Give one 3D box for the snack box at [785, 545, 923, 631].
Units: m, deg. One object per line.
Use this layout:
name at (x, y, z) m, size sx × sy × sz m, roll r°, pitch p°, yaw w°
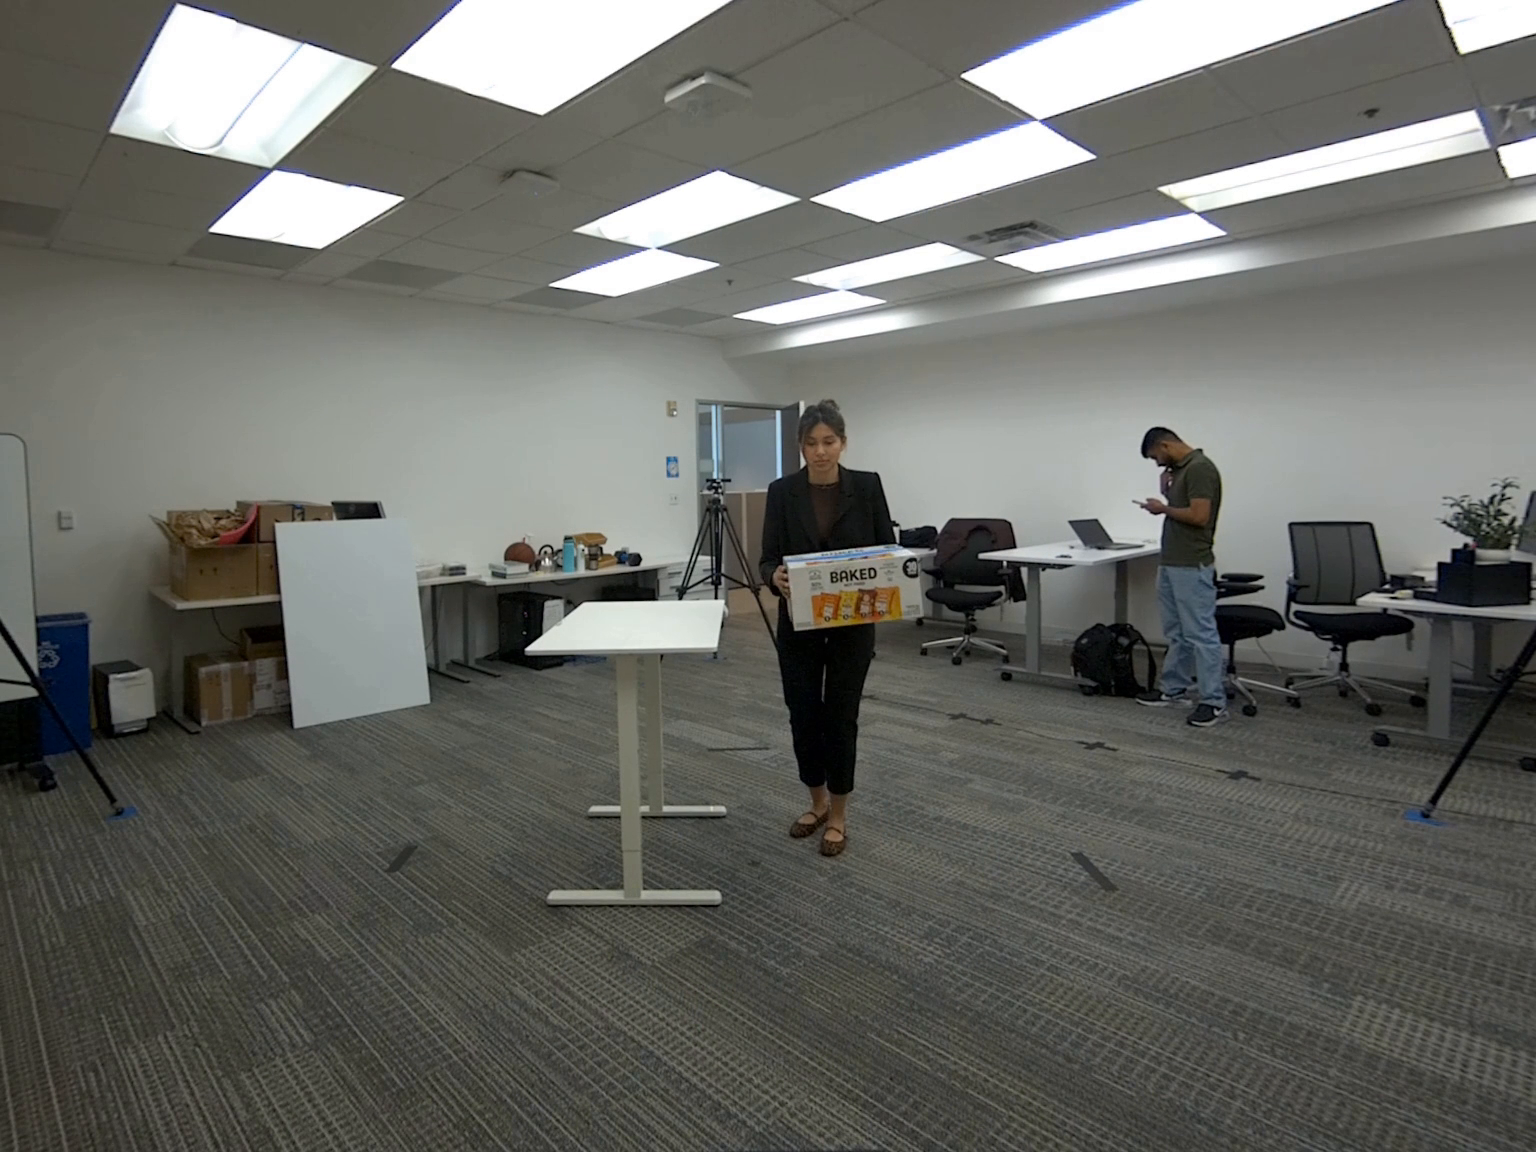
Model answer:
snack box at (0.261, 0.035, 2.837) m, size 0.405 × 0.204 × 0.342 m, roll -6°, pitch 7°, yaw 1°
